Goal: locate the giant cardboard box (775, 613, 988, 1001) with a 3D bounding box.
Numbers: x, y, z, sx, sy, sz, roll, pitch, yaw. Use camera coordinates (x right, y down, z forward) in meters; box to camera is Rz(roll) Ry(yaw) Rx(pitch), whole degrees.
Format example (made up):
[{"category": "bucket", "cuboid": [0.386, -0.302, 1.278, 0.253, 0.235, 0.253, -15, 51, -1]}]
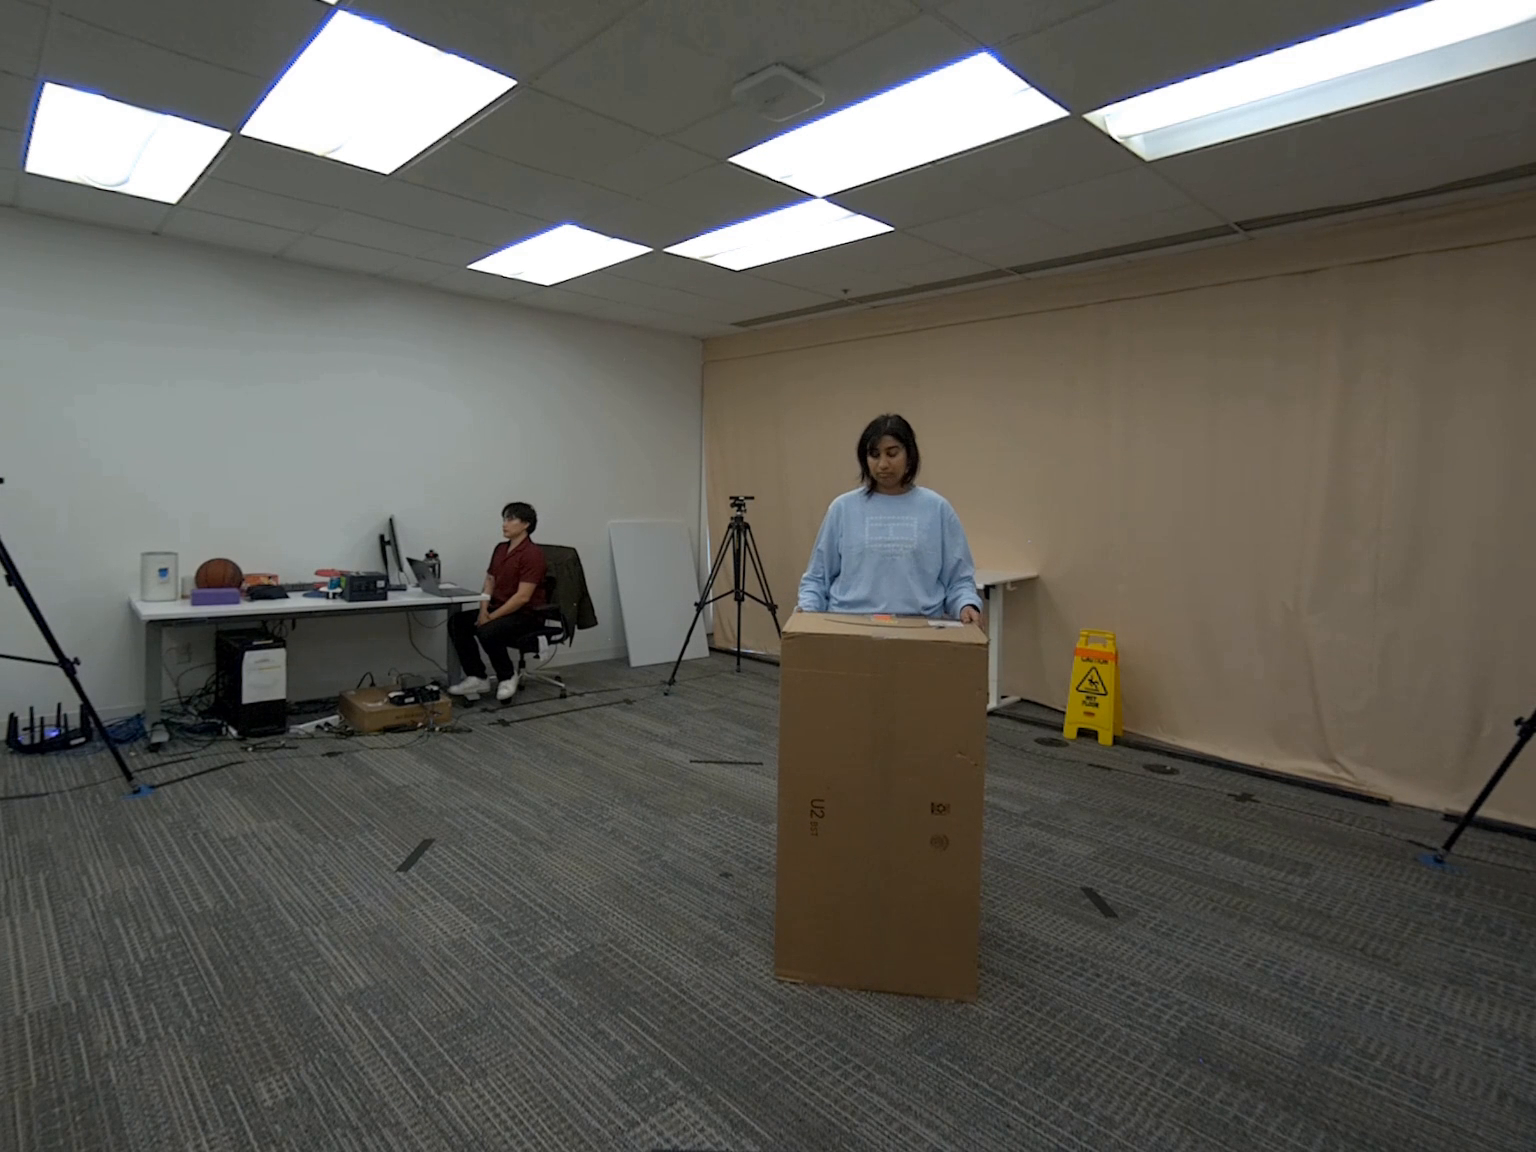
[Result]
[{"category": "giant cardboard box", "cuboid": [0.331, 0.652, 2.563, 0.589, 1.024, 0.444, 2, 3, 10]}]
